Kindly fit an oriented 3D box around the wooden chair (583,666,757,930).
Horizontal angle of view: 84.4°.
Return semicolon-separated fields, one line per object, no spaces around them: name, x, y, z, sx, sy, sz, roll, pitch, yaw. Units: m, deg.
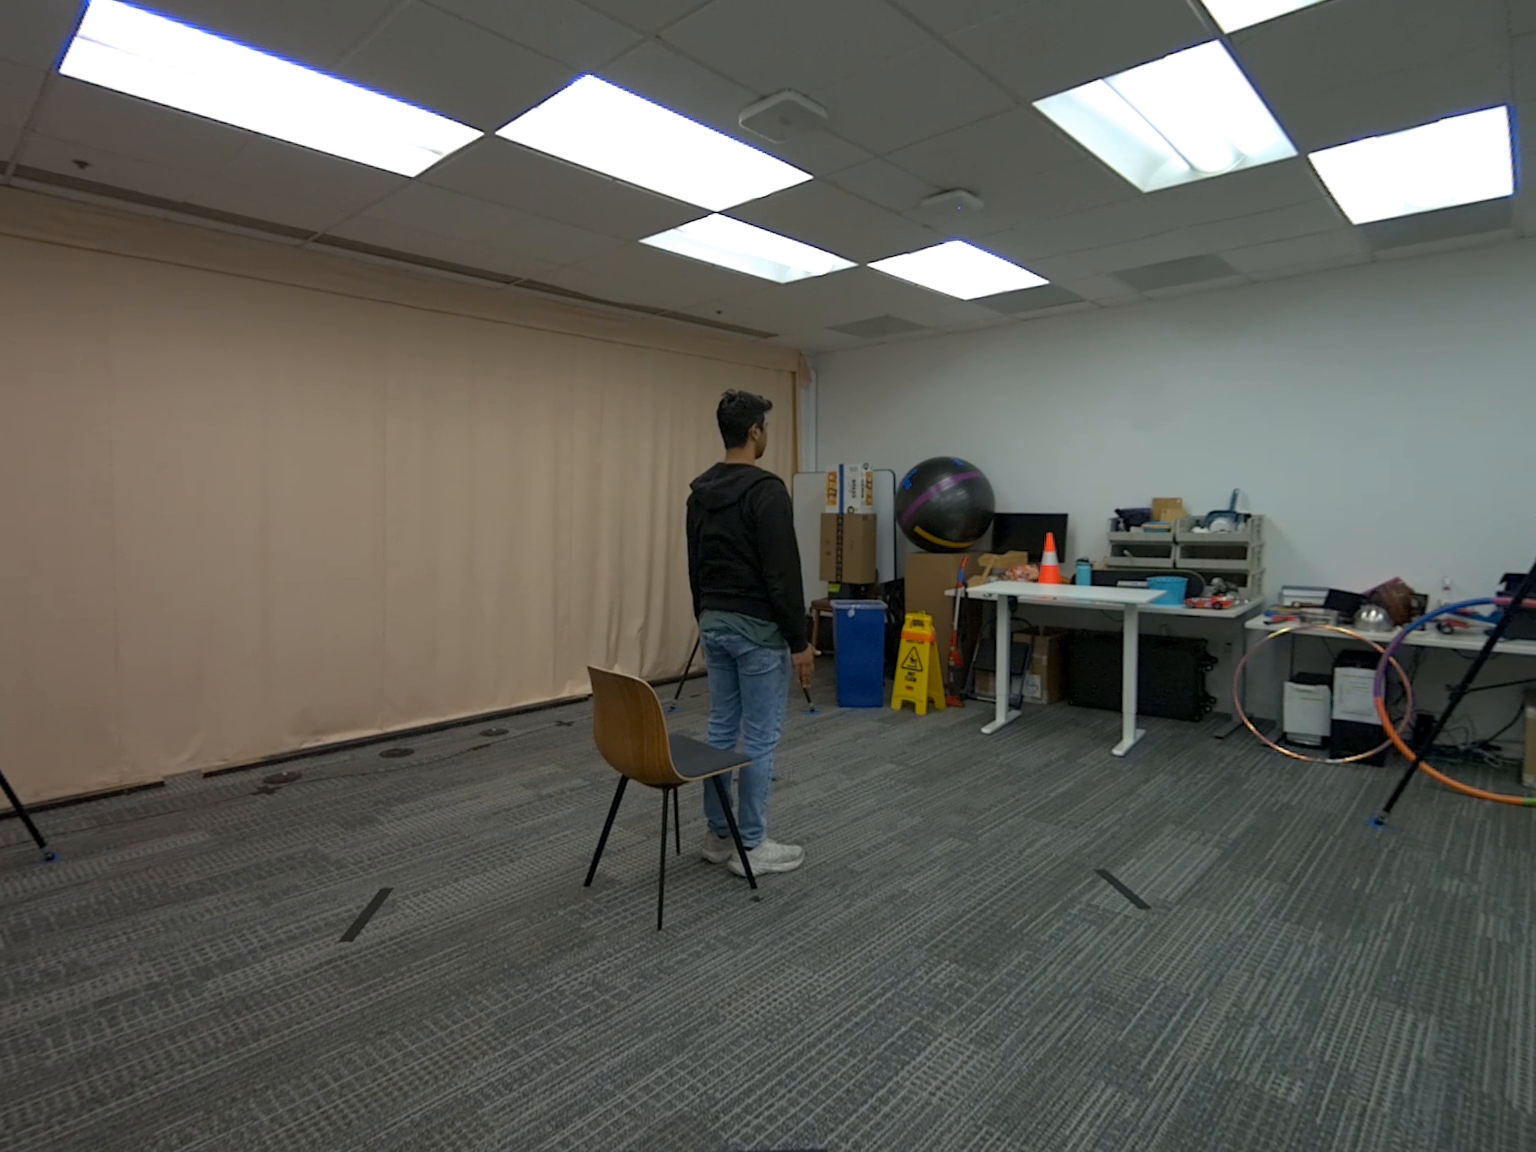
wooden chair;-0.358;0.717;3.048;0.508;0.874;0.494;-9;8;-43
